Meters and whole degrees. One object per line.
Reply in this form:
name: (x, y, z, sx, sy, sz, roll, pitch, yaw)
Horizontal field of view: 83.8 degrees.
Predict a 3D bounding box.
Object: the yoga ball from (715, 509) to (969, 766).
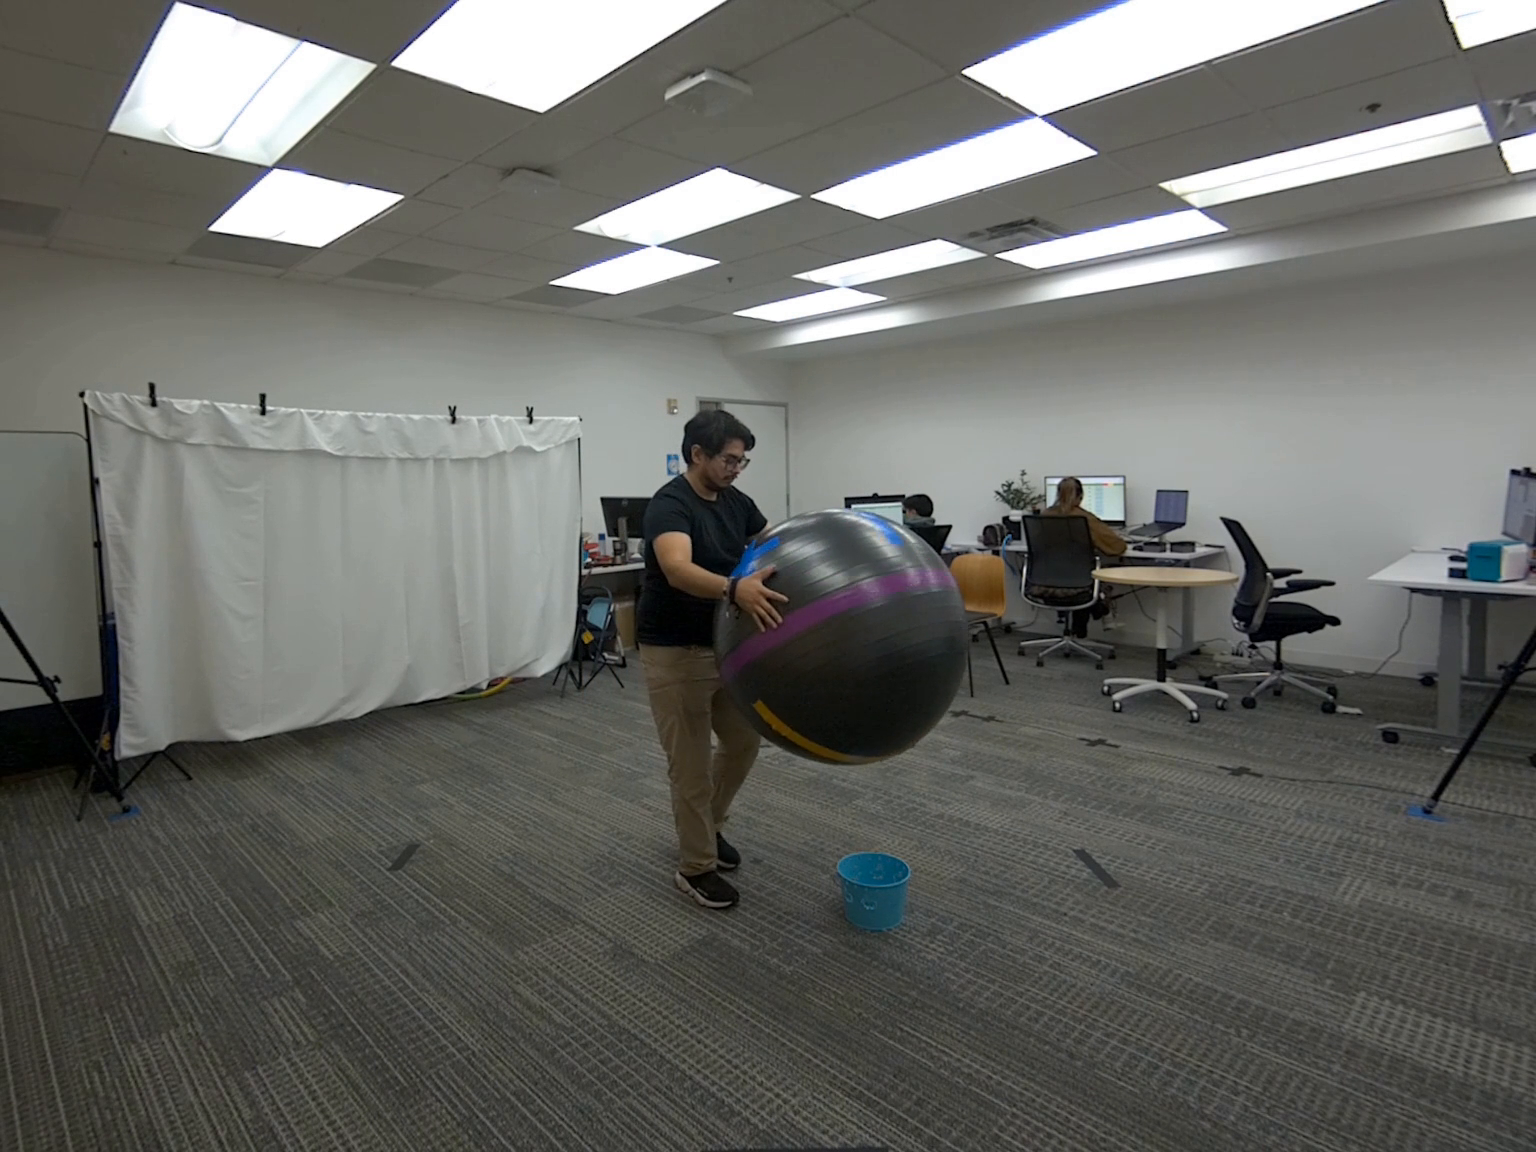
yoga ball: (0.218, 0.183, 2.557, 0.757, 0.755, 0.762, -1, 5, -2)
